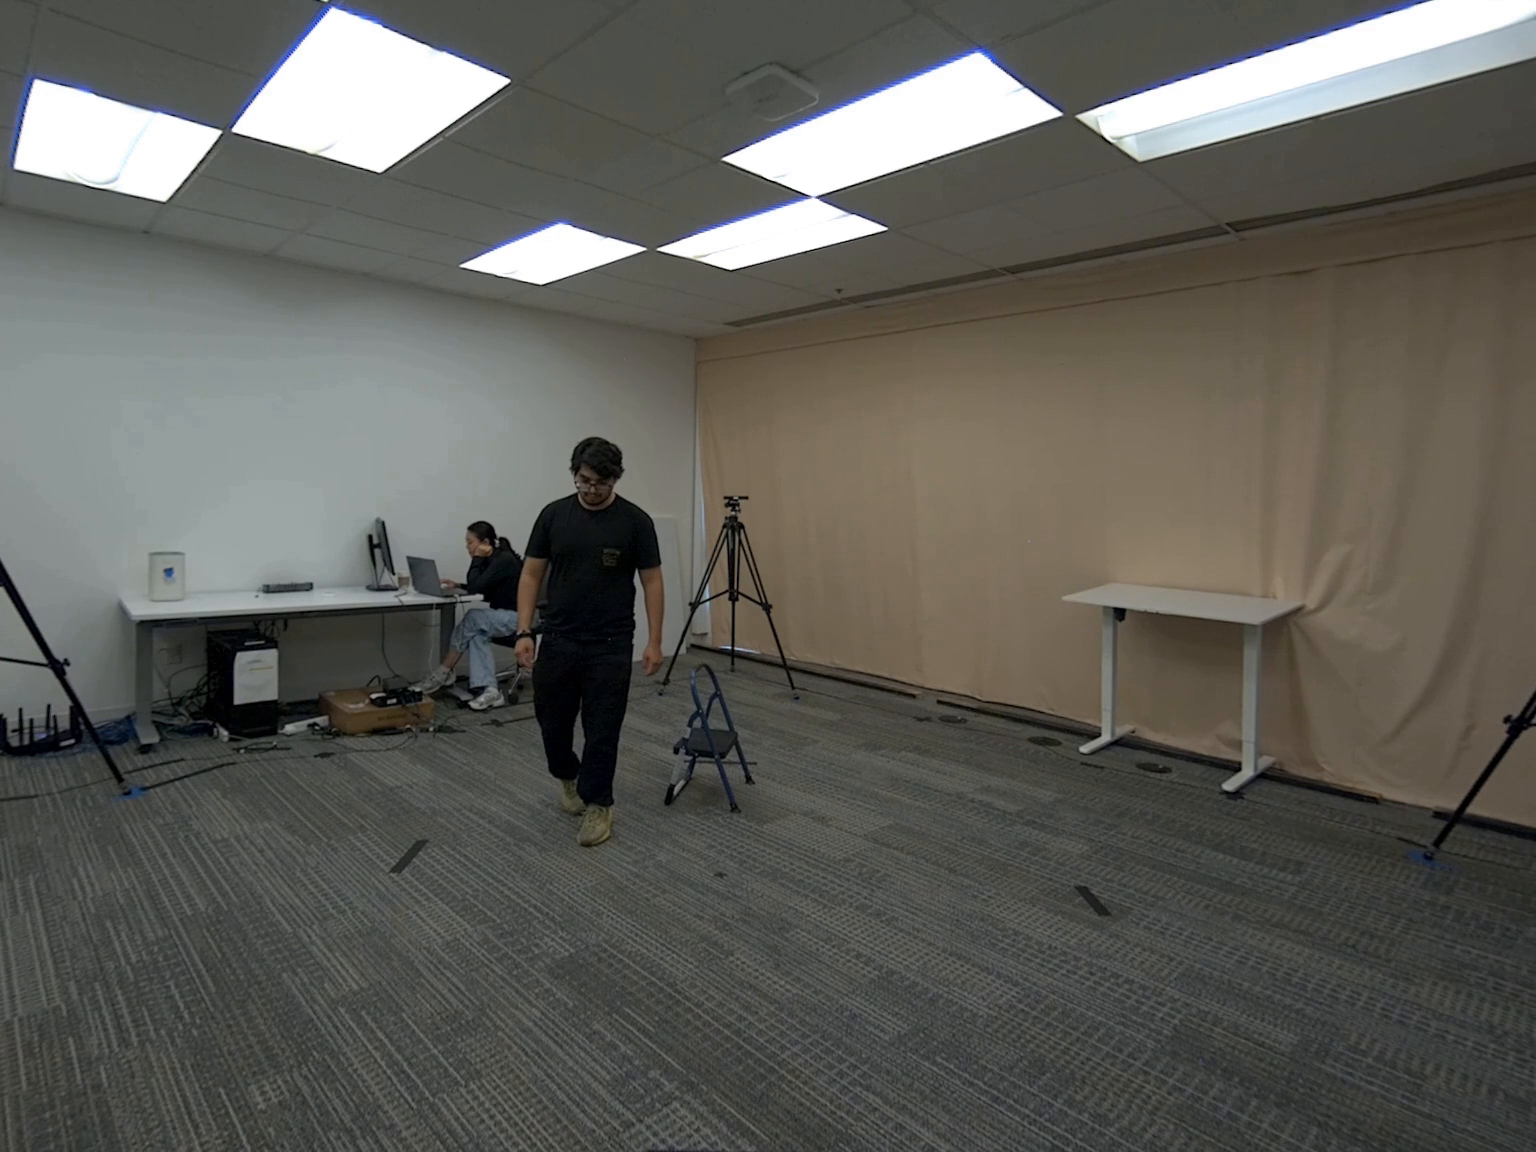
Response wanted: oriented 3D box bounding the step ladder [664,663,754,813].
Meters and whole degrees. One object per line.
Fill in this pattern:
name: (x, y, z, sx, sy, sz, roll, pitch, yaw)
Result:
step ladder: (-0.272, 0.727, 3.957, 0.352, 0.605, 0.428, 2, 3, 9)
